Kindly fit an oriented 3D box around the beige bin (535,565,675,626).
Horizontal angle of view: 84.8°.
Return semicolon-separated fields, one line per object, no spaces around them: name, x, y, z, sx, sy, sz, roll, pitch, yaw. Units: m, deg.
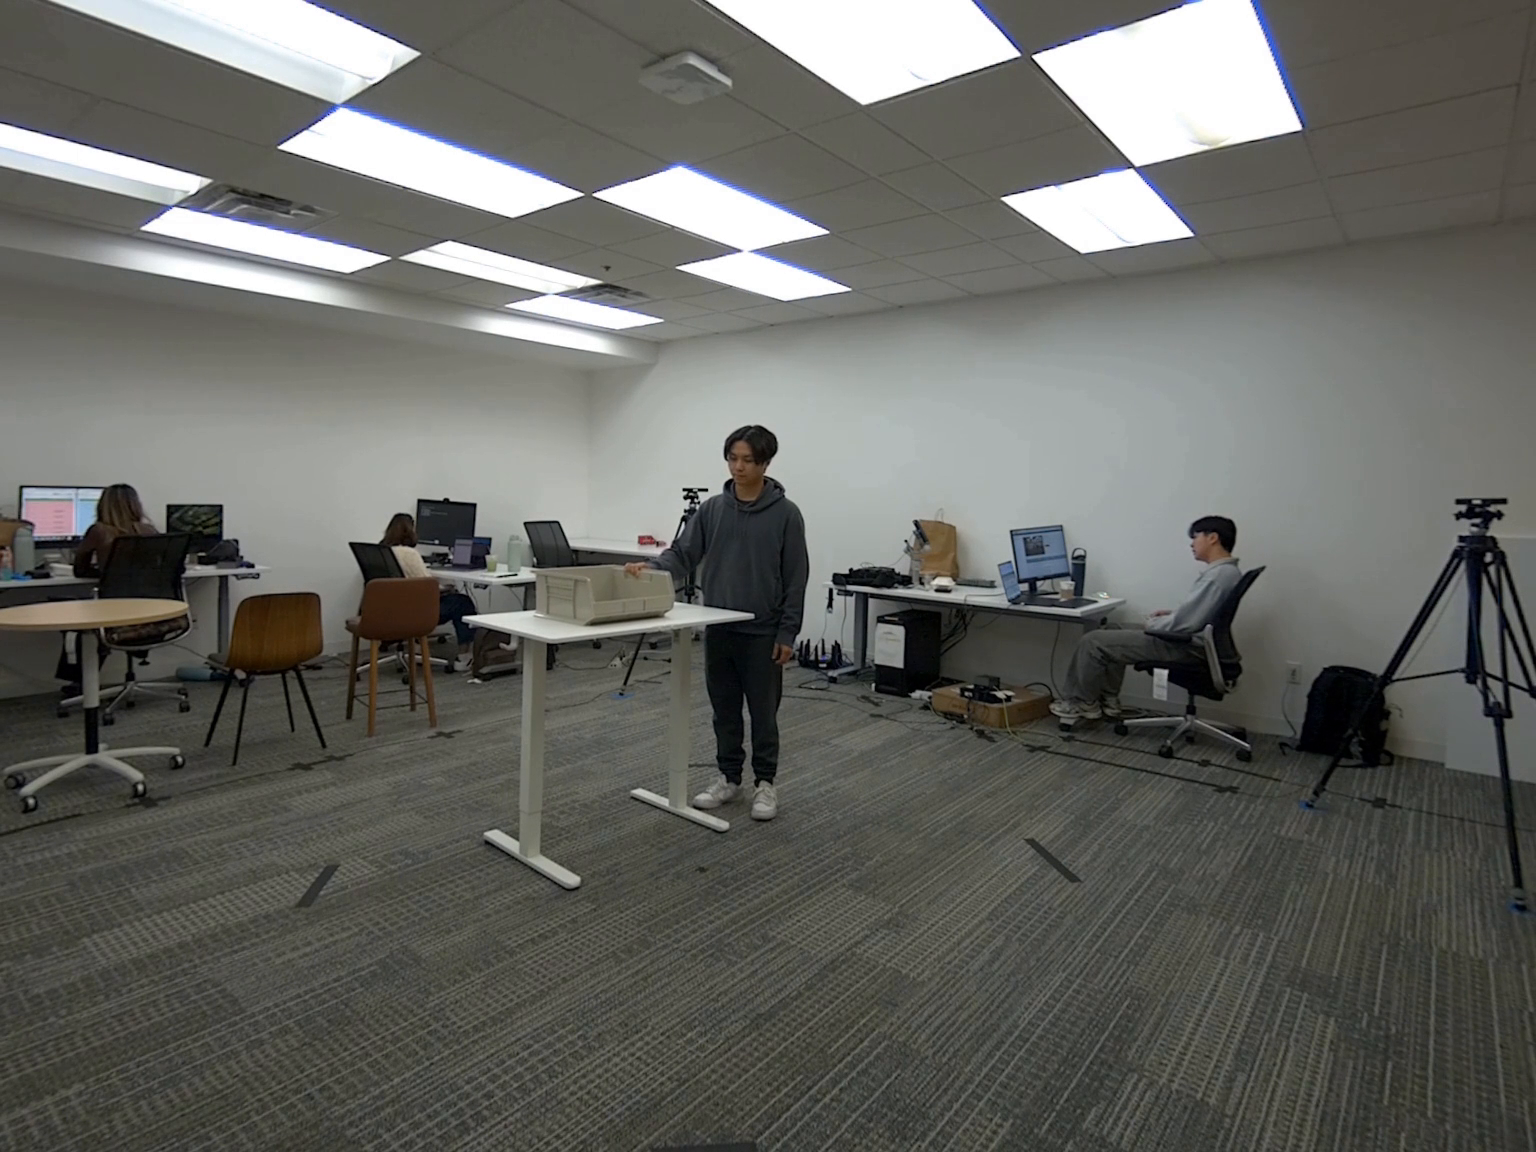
beige bin;-0.652;0.070;3.320;0.390;0.188;0.410;5;6;40
